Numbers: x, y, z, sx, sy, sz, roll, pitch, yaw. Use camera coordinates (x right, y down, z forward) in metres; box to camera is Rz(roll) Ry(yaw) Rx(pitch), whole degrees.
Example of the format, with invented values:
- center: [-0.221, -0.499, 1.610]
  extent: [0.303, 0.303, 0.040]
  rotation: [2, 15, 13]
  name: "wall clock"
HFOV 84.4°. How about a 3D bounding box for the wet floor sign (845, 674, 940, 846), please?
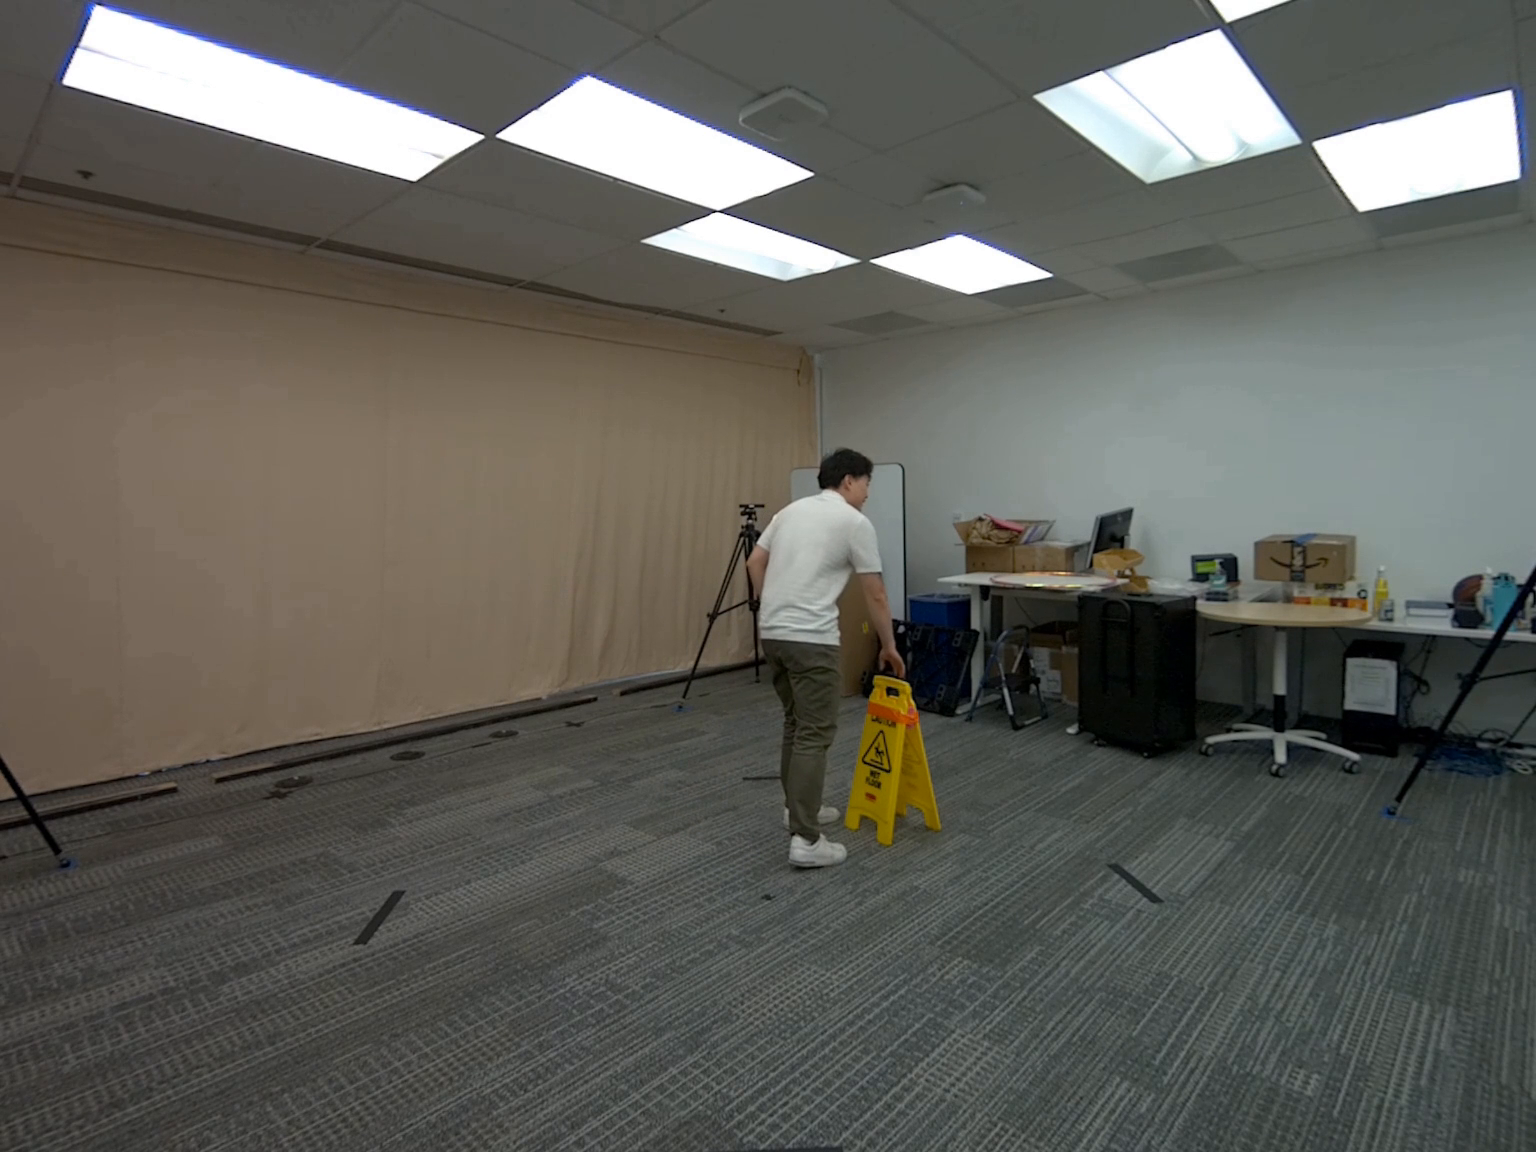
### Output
- center: [0.531, 0.758, 3.580]
  extent: [0.281, 0.645, 0.291]
  rotation: [-2, 3, -34]
  name: "wet floor sign"
